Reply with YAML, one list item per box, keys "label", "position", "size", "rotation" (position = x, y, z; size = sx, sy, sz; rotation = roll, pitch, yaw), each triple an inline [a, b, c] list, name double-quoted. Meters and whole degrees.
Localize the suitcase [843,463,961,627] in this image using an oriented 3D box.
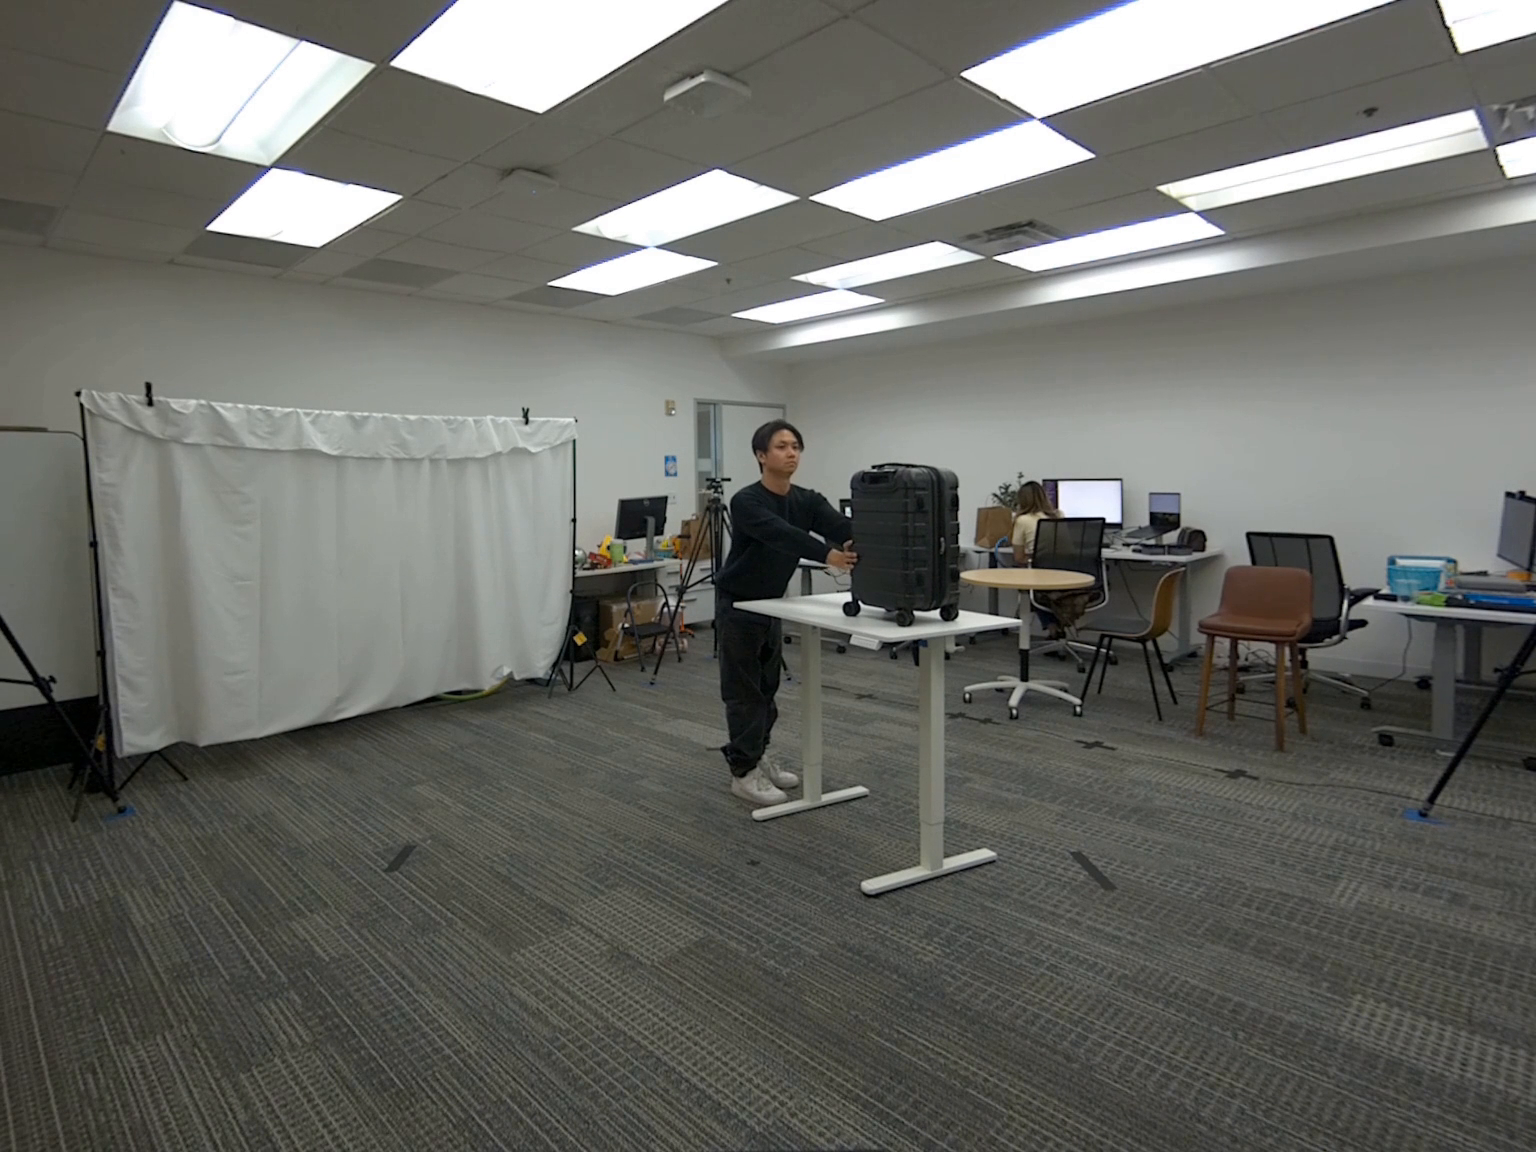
- label: "suitcase"
  position: [0.476, -0.123, 3.038]
  size: [0.242, 0.548, 0.386]
  rotation: [-2, 3, -32]
